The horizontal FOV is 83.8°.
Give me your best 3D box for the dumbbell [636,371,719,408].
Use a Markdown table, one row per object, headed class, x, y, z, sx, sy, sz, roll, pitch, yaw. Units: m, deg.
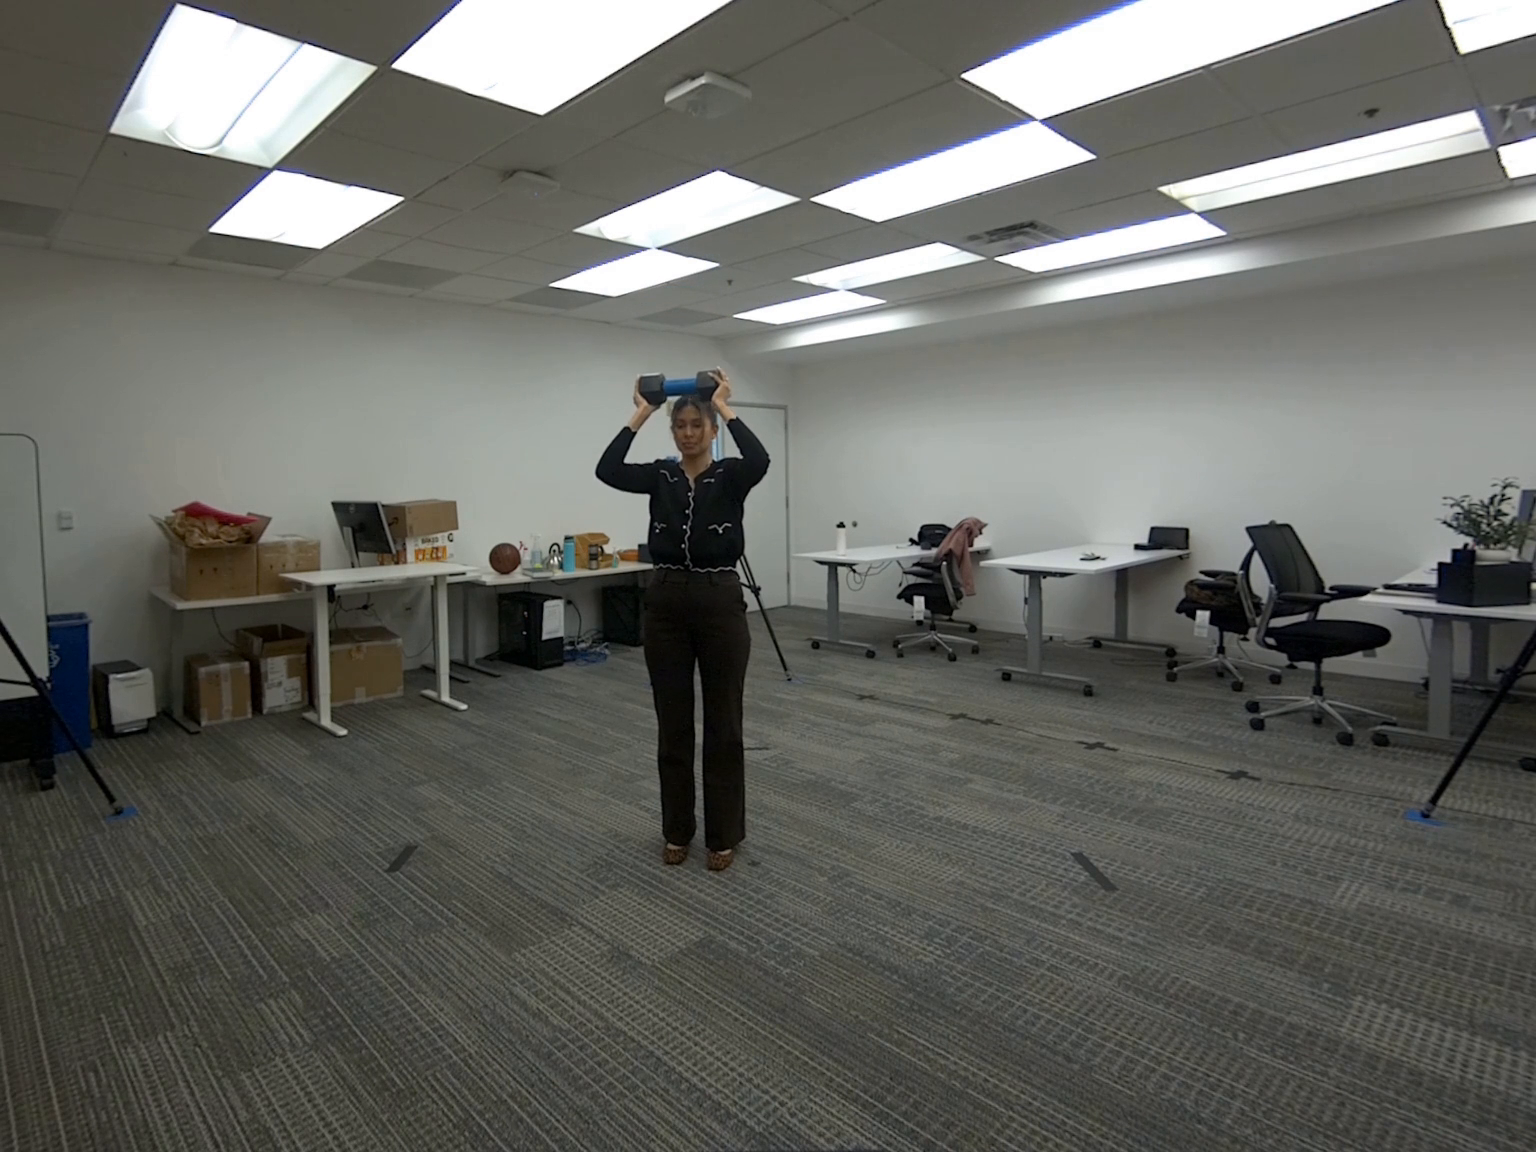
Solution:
| class | x | y | z | sx | sy | sz | roll | pitch | yaw |
| --- | --- | --- | --- | --- | --- | --- | --- | --- | --- |
| dumbbell | -0.328 | -0.666 | 3.030 | 0.297 | 0.107 | 0.124 | -1 | 19 | 11 |
